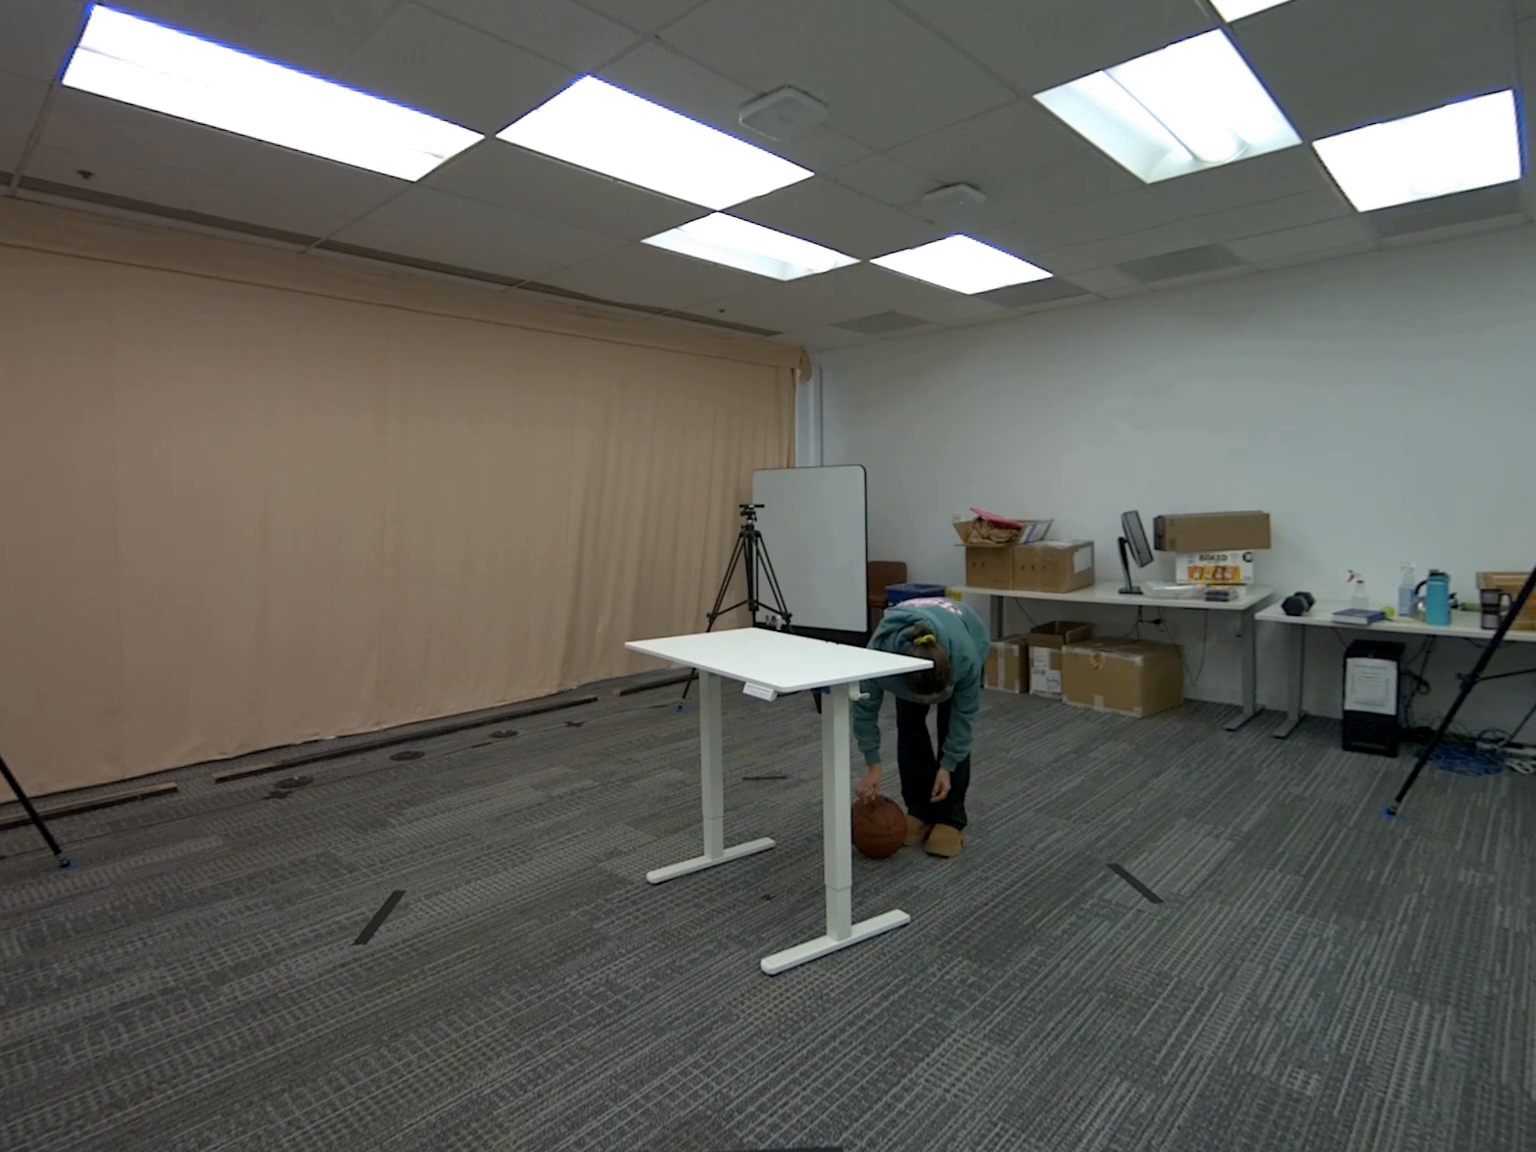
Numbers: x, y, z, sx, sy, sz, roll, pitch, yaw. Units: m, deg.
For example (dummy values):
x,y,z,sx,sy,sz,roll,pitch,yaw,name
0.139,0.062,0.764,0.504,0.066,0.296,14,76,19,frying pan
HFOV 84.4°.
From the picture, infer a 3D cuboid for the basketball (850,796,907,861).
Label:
x,y,z,sx,sy,sz,roll,pitch,yaw,name
0.444,0.984,3.315,0.236,0.235,0.237,-1,4,-2,basketball
